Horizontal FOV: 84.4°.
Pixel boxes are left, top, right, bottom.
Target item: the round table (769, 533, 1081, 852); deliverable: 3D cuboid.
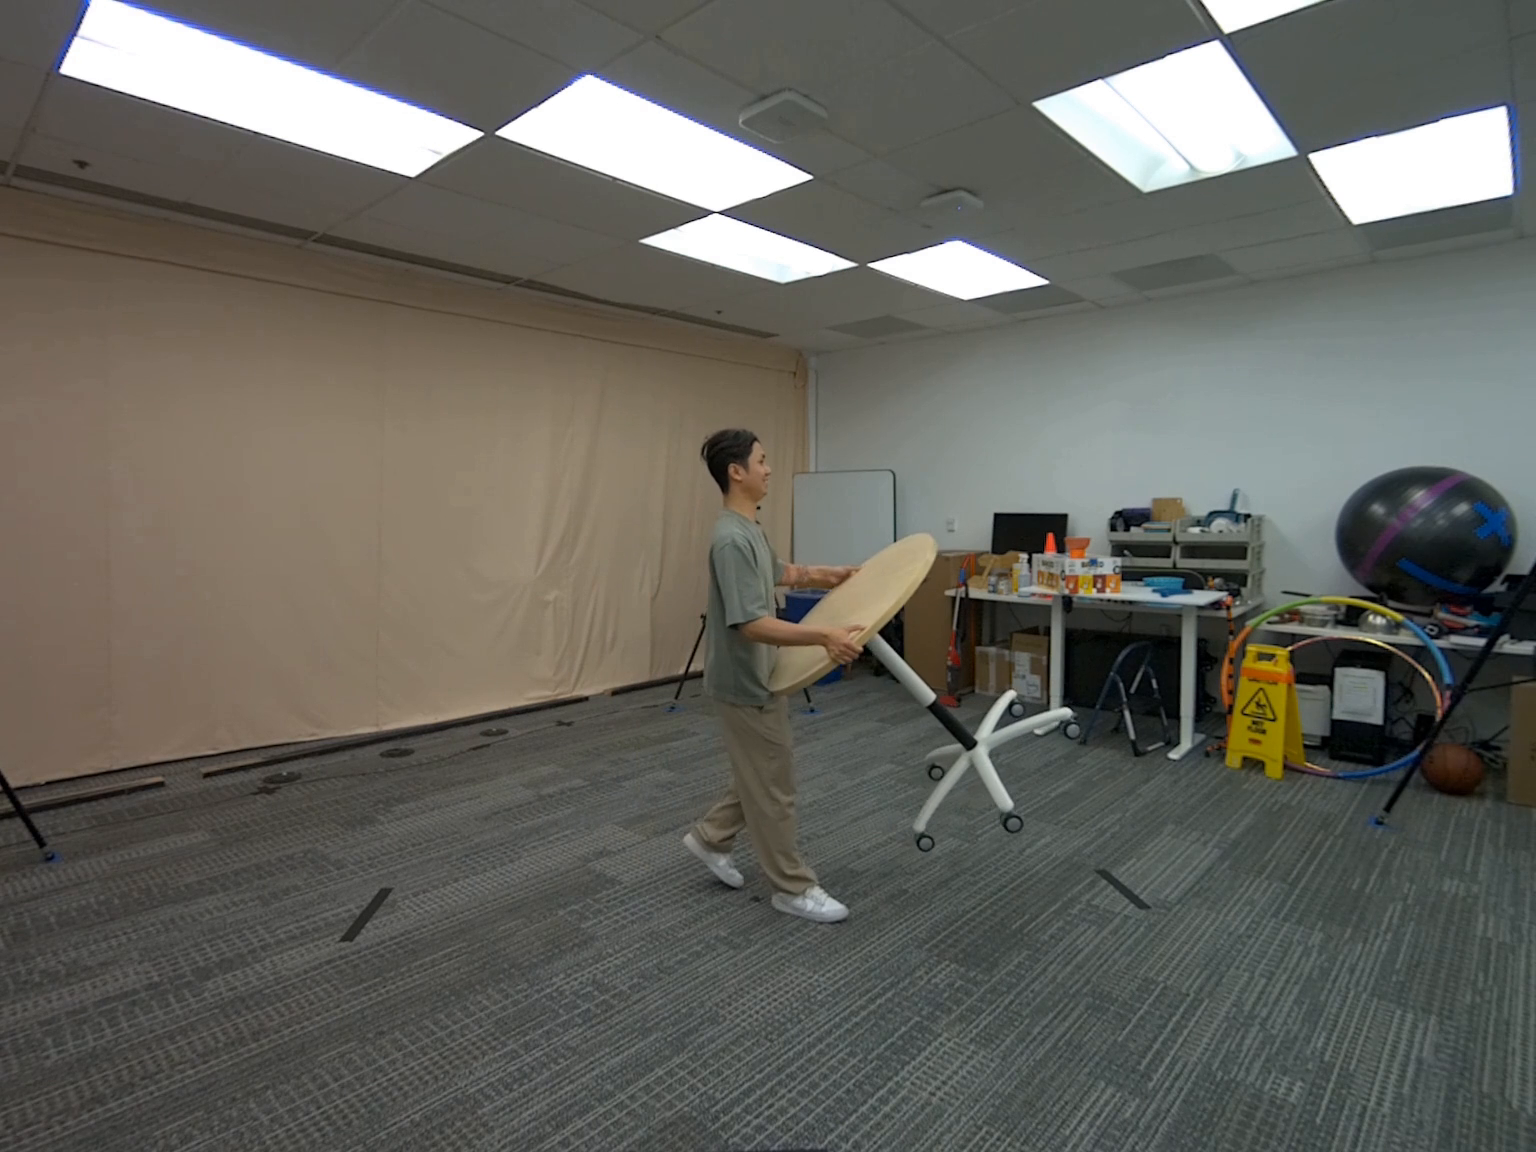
[{"bbox_3d":[0.538,0.413,2.904,0.786,0.782,0.789,-44,6,3],"label":"round table"}]
